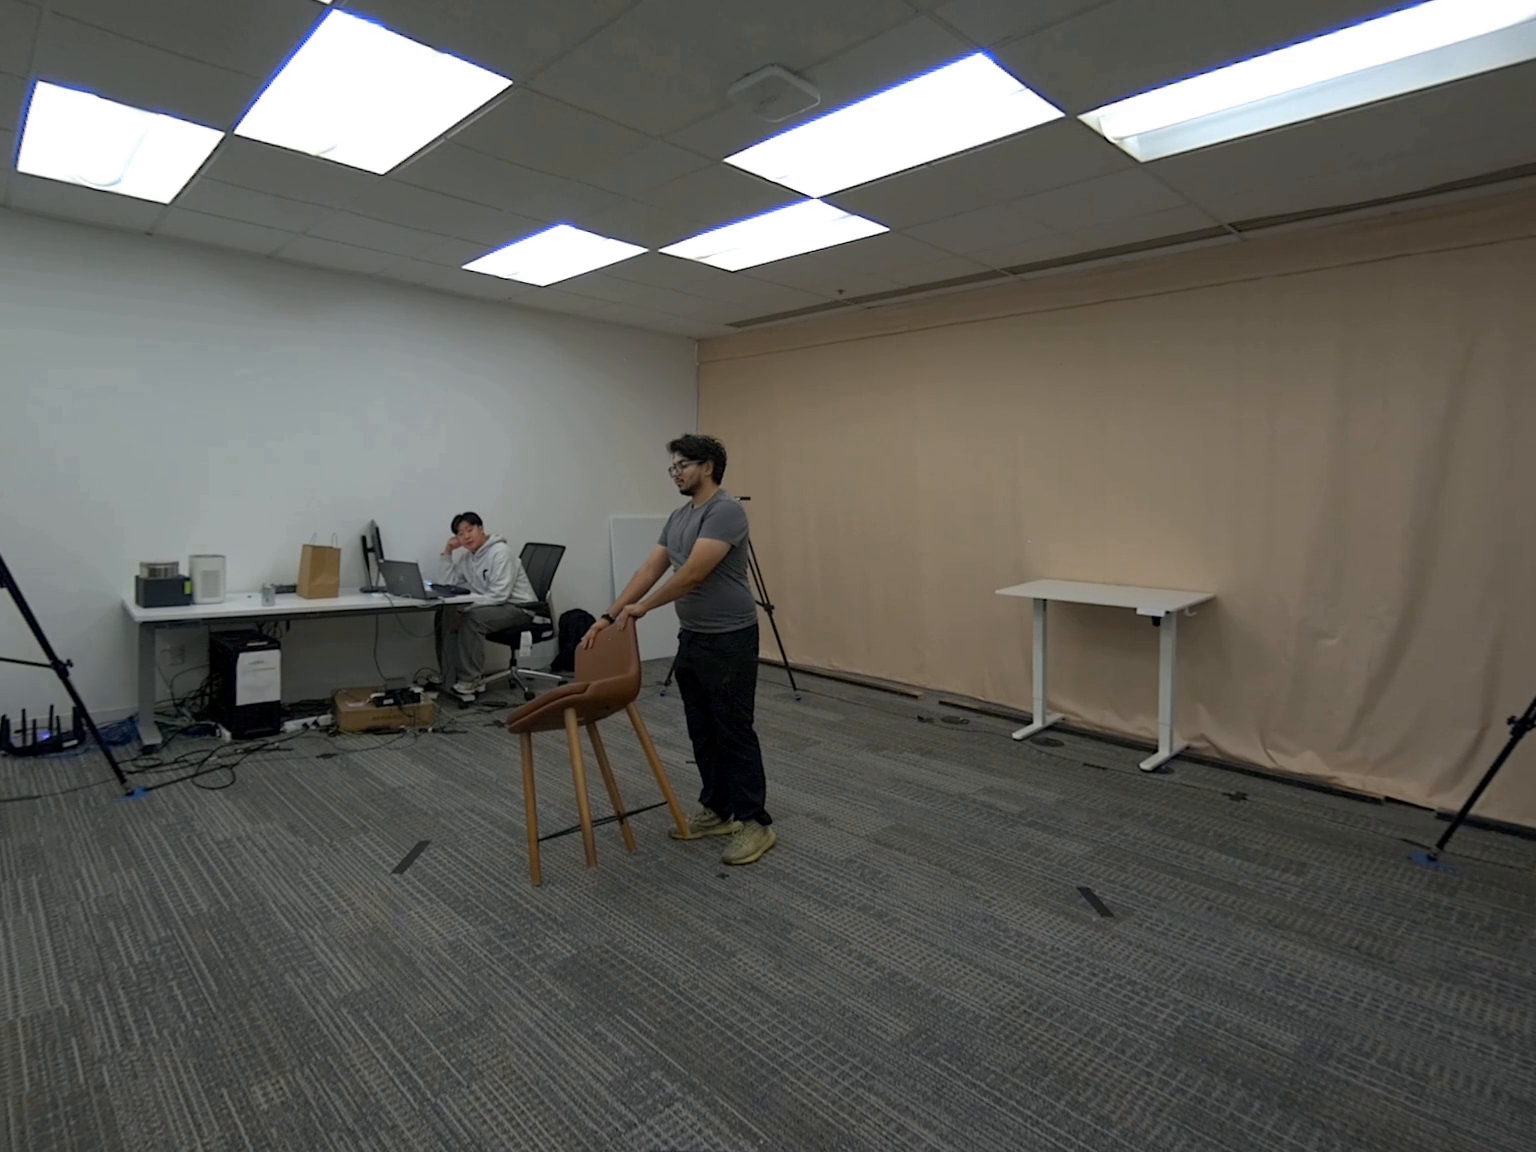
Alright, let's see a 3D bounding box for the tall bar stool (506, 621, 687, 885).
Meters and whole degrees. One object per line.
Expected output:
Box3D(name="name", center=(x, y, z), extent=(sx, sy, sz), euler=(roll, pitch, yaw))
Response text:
Box3D(name="tall bar stool", center=(-0.680, 0.616, 3.147), extent=(0.456, 0.904, 0.460), euler=(2, -24, -45))
